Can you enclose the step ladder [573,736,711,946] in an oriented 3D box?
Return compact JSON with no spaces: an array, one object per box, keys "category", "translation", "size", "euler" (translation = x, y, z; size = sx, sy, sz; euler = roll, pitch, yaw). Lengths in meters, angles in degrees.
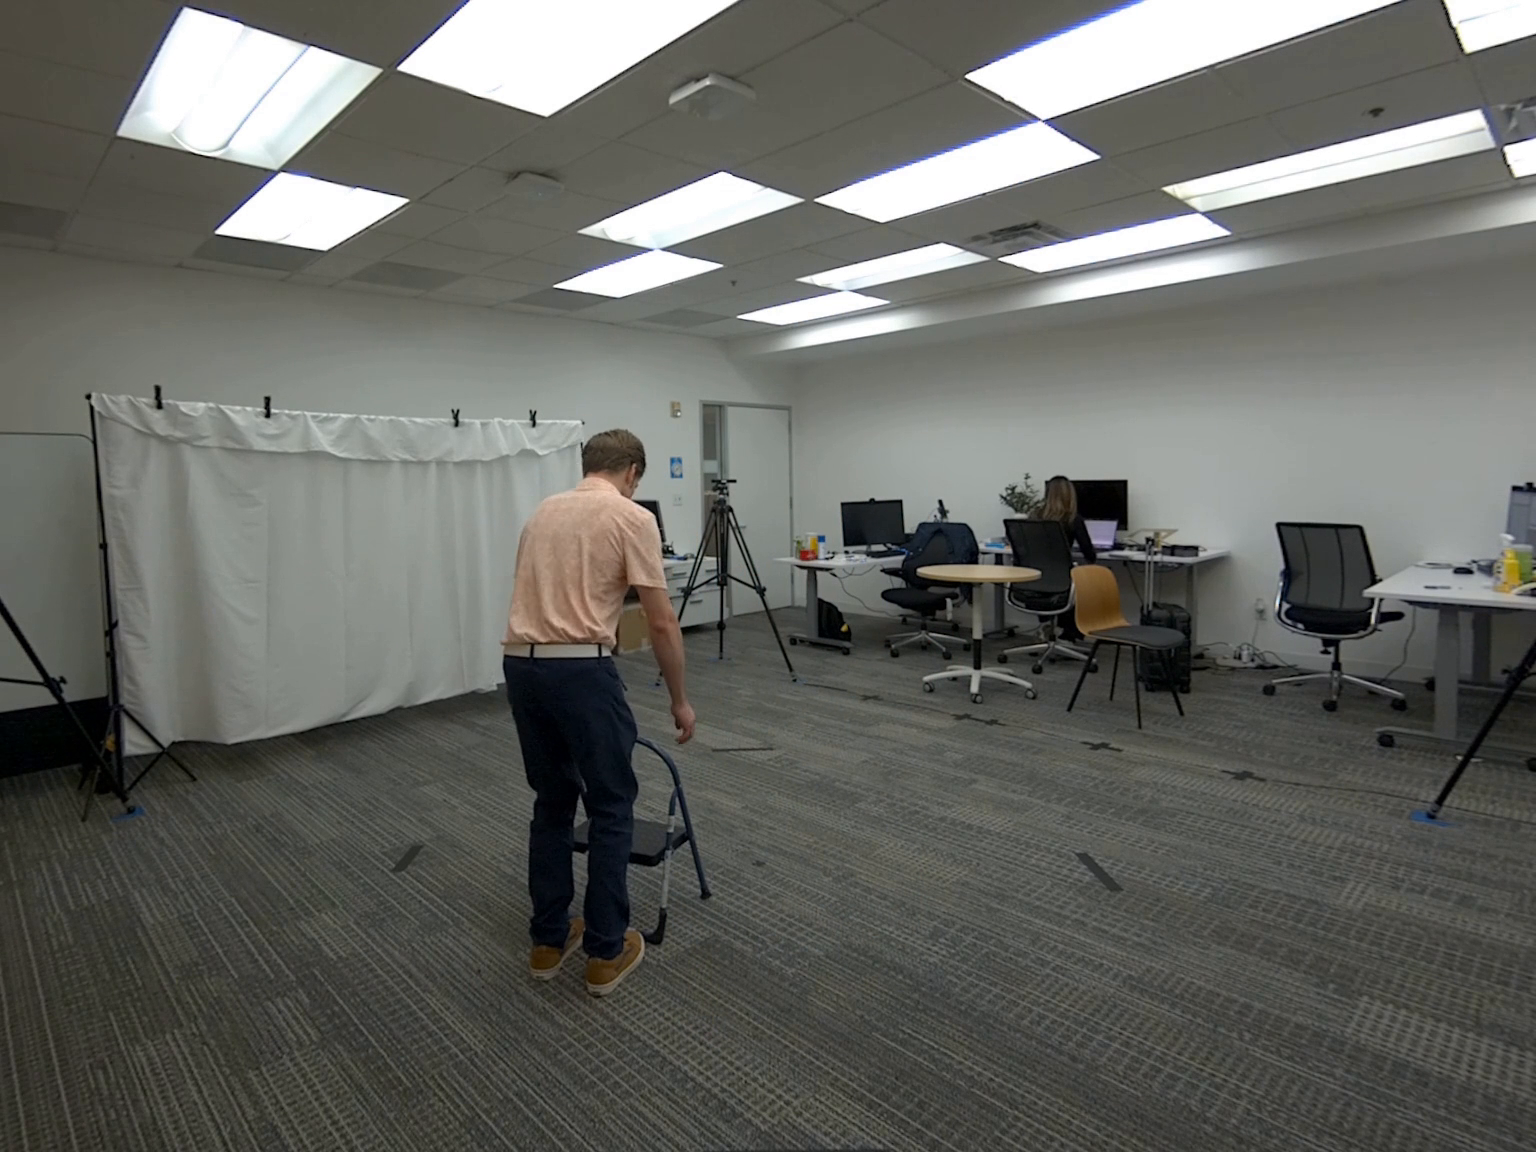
[{"category":"step ladder","translation":[-0.454,0.792,2.796],"size":[0.440,0.604,0.343],"euler":[0,5,24]}]
